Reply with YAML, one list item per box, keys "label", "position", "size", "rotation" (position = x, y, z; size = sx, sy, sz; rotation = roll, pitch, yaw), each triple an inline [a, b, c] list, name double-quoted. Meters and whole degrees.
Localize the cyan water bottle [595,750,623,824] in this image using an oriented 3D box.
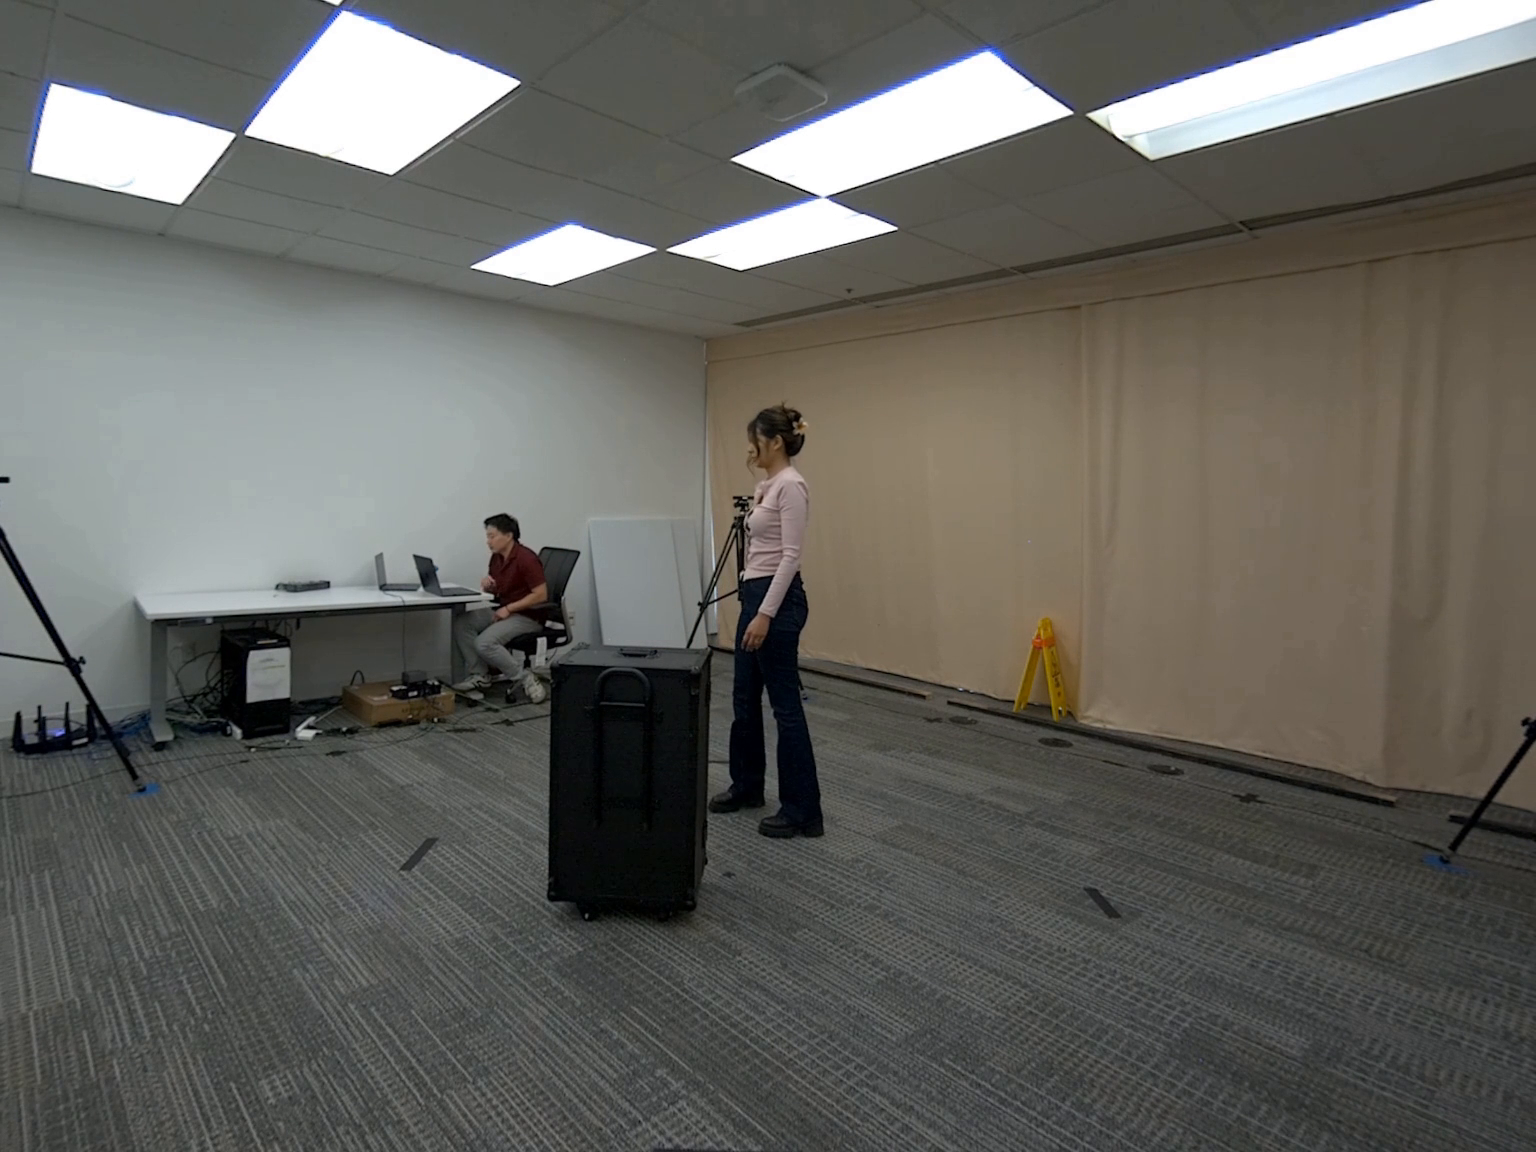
- label: "cyan water bottle"
  position: [-0.685, 0.902, 3.638]
  size: [0.092, 0.283, 0.092]
  rotation: [2, 2, -1]
